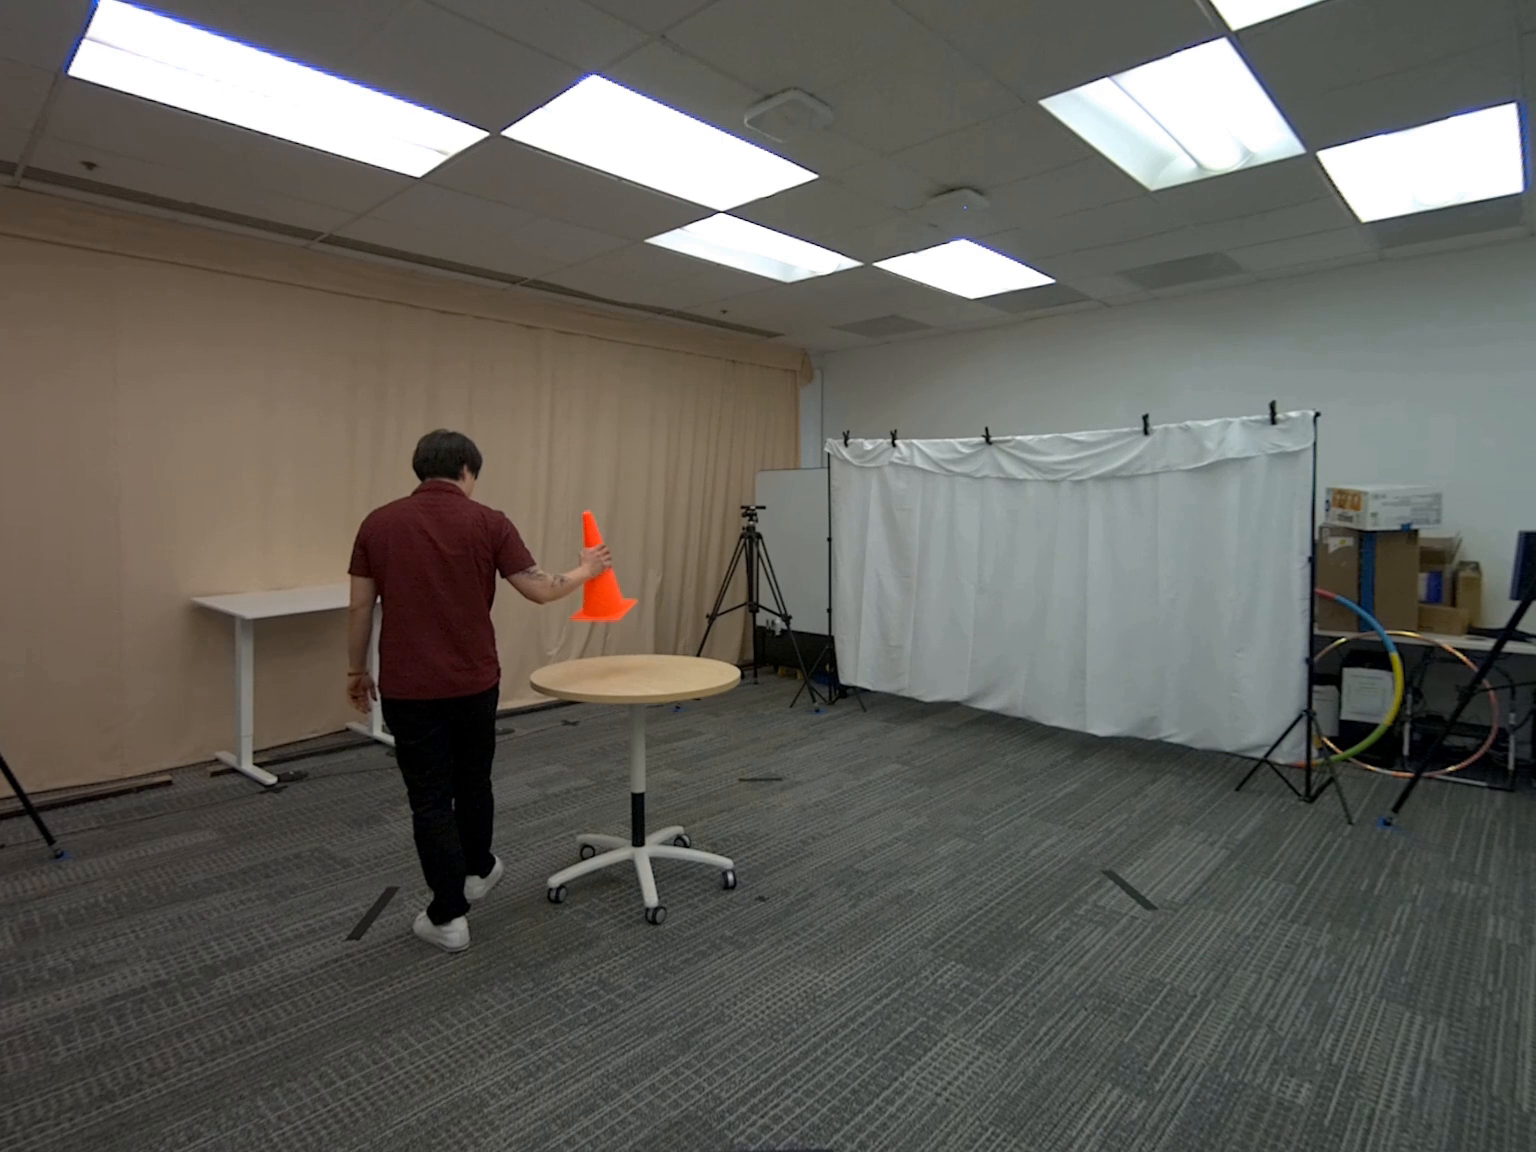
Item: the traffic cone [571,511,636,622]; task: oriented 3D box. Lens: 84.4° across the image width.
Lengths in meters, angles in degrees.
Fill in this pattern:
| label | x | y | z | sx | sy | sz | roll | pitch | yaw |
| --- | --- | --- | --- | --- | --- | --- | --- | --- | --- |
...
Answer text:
| label | x | y | z | sx | sy | sz | roll | pitch | yaw |
| --- | --- | --- | --- | --- | --- | --- | --- | --- | --- |
| traffic cone | -0.636 | -0.050 | 3.081 | 0.209 | 0.379 | 0.201 | 0 | 17 | 19 |
